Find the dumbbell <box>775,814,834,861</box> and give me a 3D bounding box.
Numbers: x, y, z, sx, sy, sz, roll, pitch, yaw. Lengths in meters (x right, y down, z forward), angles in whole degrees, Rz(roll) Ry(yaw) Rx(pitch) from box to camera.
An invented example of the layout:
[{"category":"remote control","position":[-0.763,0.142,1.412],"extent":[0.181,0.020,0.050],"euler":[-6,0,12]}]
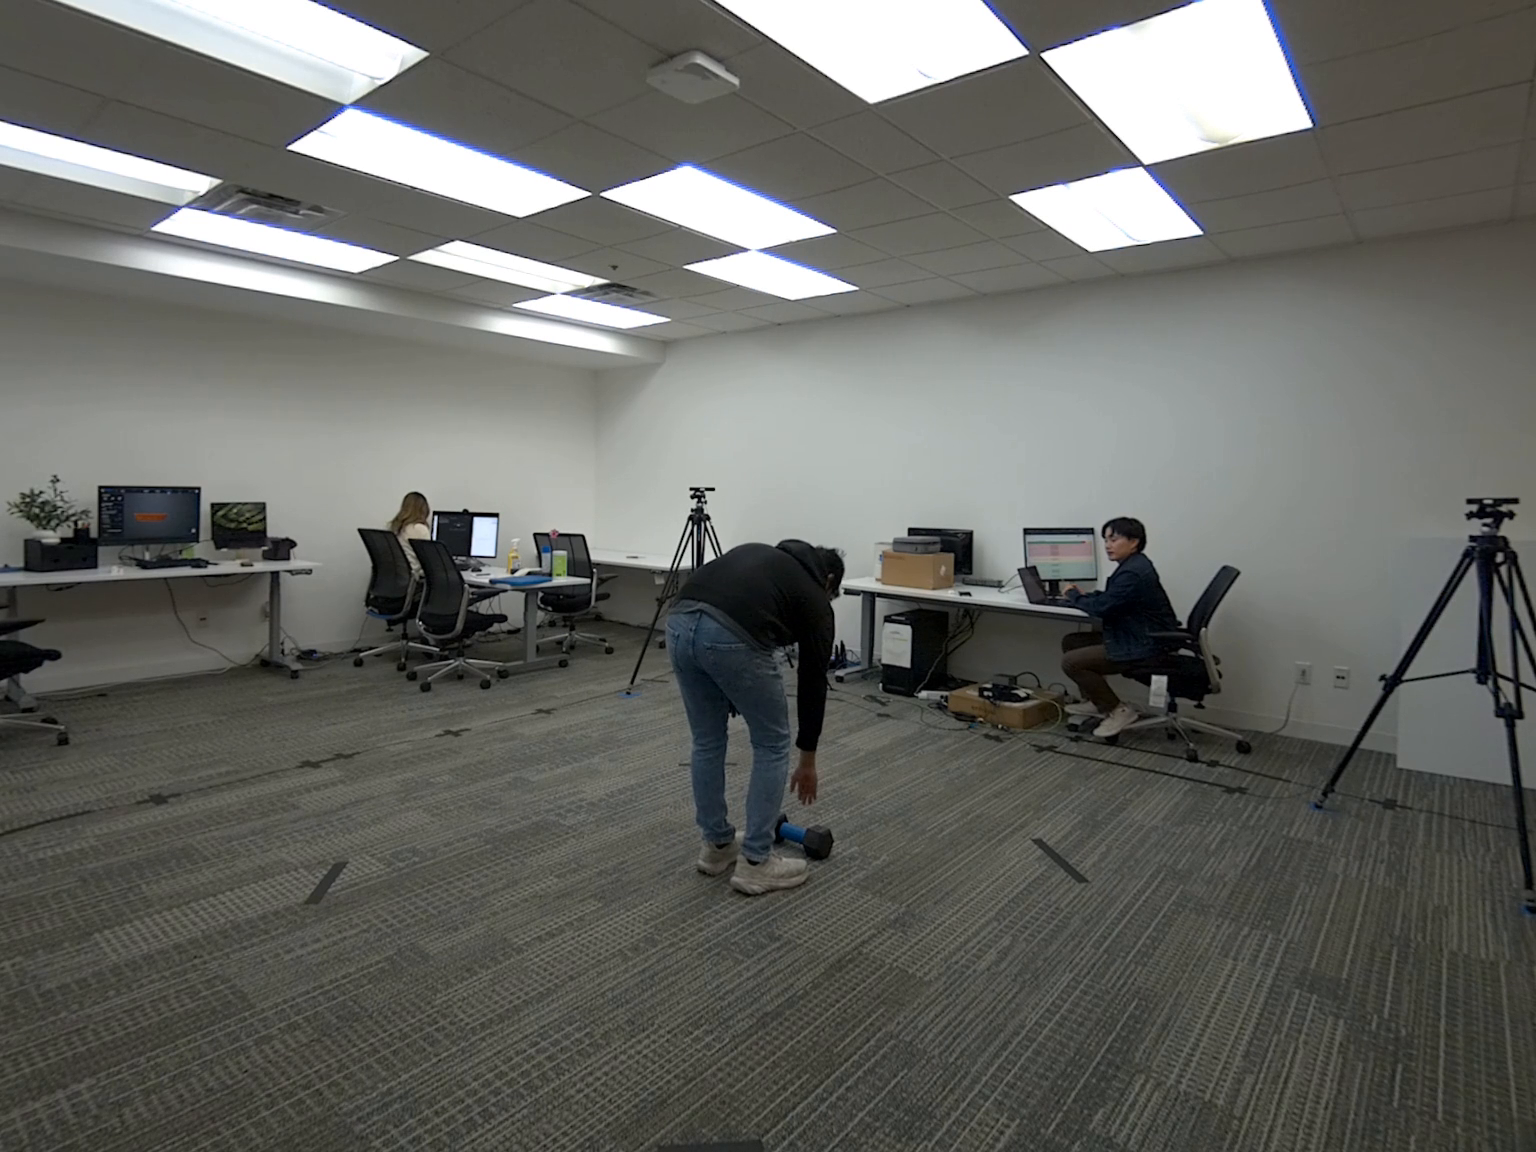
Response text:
[{"category":"dumbbell","position":[0.098,0.998,3.306],"extent":[0.304,0.108,0.119],"euler":[6,7,40]}]
